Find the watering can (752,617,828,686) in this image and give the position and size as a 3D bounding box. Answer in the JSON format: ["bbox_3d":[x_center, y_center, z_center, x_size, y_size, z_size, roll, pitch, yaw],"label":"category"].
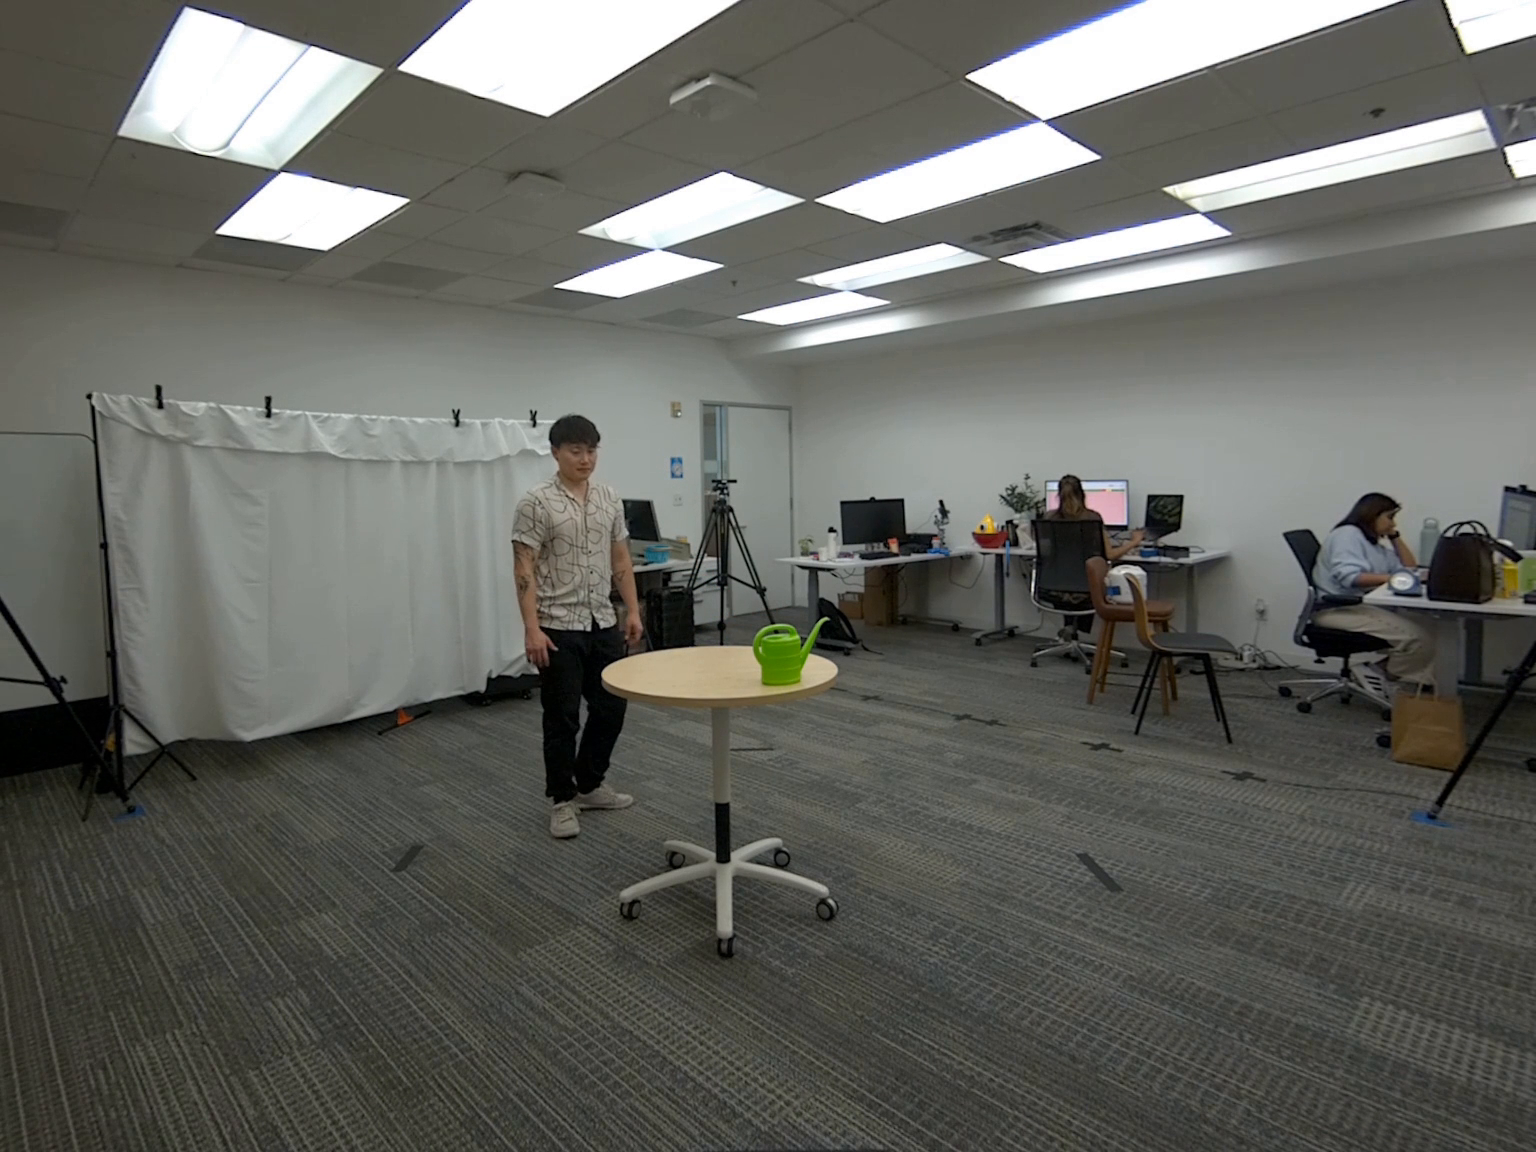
[{"bbox_3d":[0.090,0.228,2.602,0.274,0.176,0.099,-6,2,-17],"label":"watering can"}]
